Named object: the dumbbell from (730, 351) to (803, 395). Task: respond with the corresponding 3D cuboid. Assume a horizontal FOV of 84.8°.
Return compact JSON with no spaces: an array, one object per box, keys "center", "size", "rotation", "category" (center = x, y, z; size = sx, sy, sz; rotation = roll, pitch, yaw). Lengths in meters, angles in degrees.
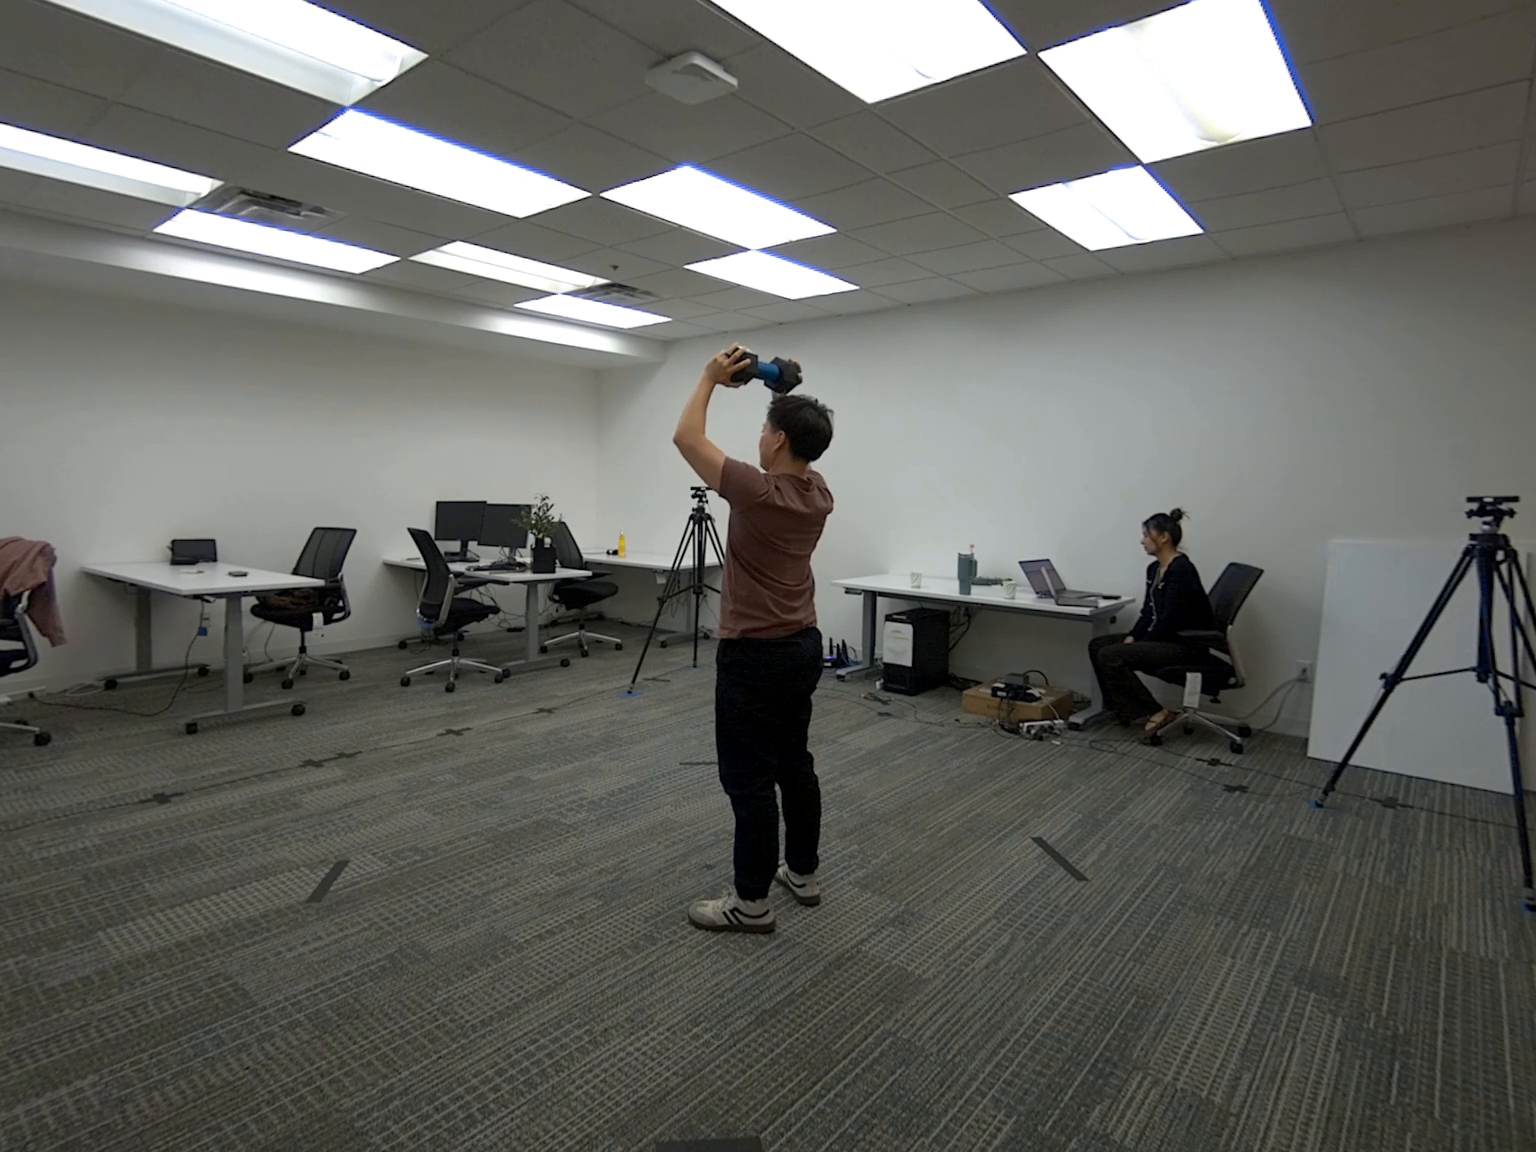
[{"center":[-0.034,-0.682,2.820],"size":[0.284,0.112,0.124],"rotation":[1,-31,-47],"category":"dumbbell"}]
